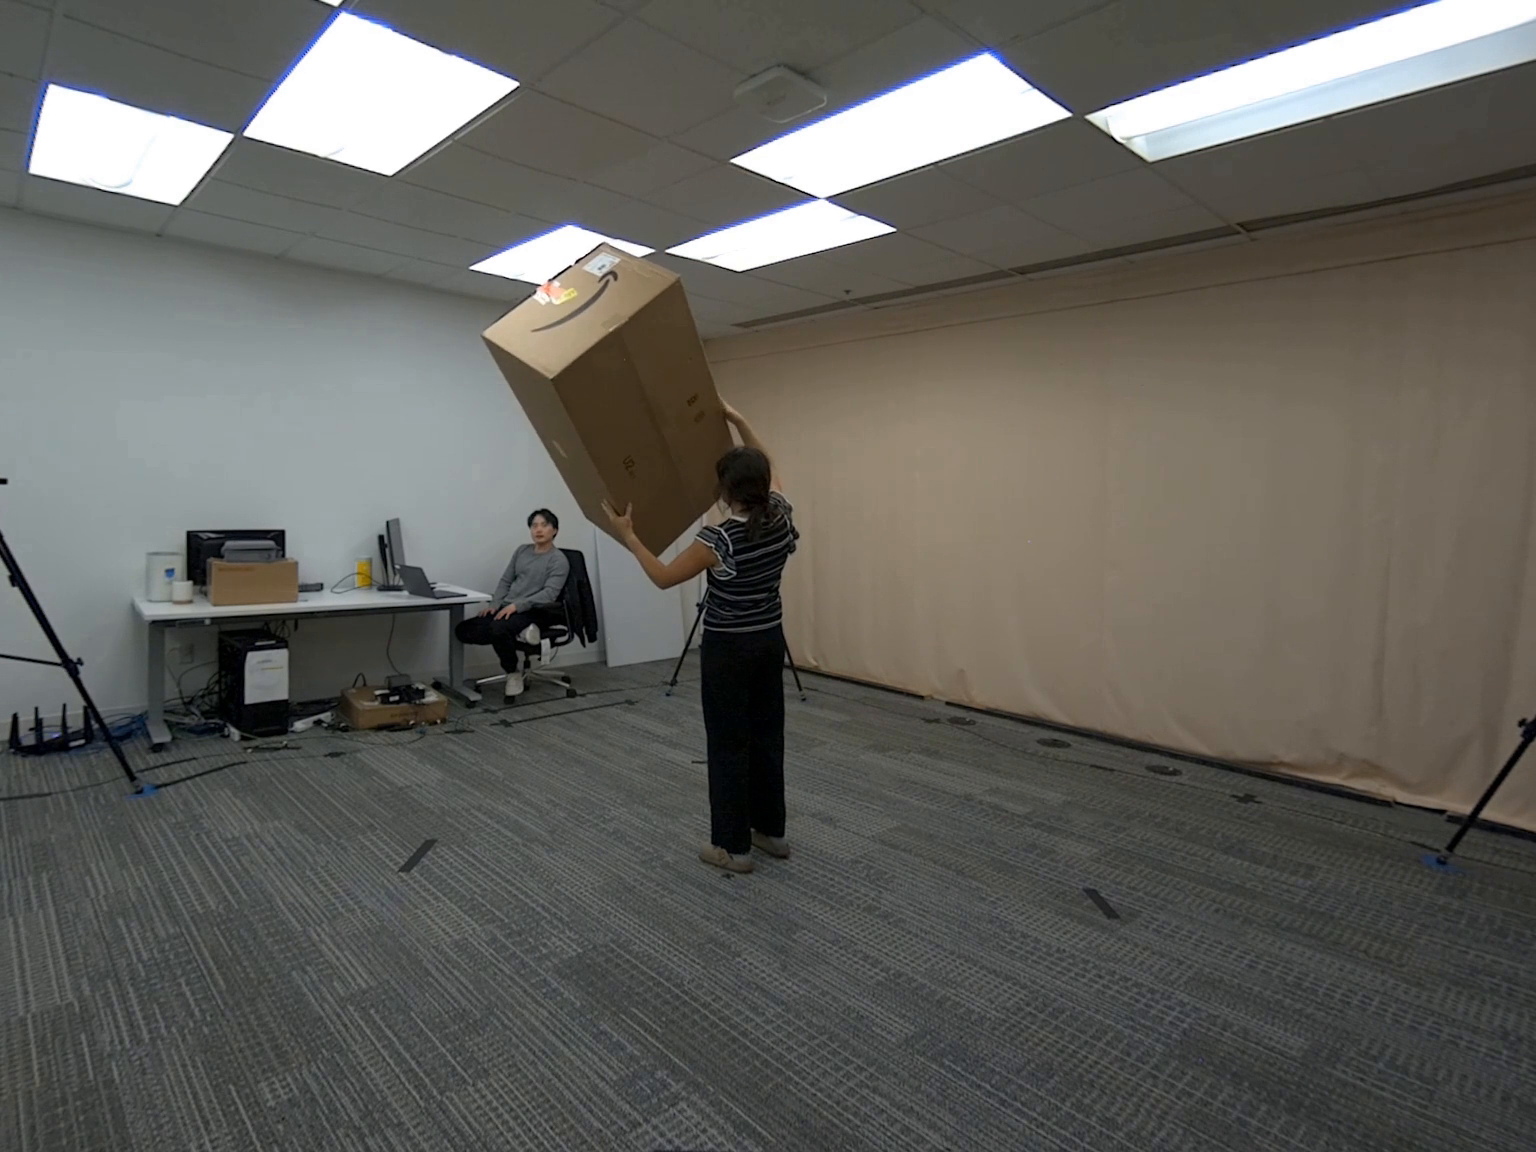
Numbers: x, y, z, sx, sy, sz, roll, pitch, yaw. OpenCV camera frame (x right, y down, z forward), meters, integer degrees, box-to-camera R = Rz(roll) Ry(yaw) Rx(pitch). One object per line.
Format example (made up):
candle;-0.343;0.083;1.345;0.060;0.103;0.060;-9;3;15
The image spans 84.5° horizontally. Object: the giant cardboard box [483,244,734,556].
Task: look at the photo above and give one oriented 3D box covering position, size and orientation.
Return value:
giant cardboard box;-0.534;-0.619;3.196;0.438;0.577;0.997;35;-21;31
